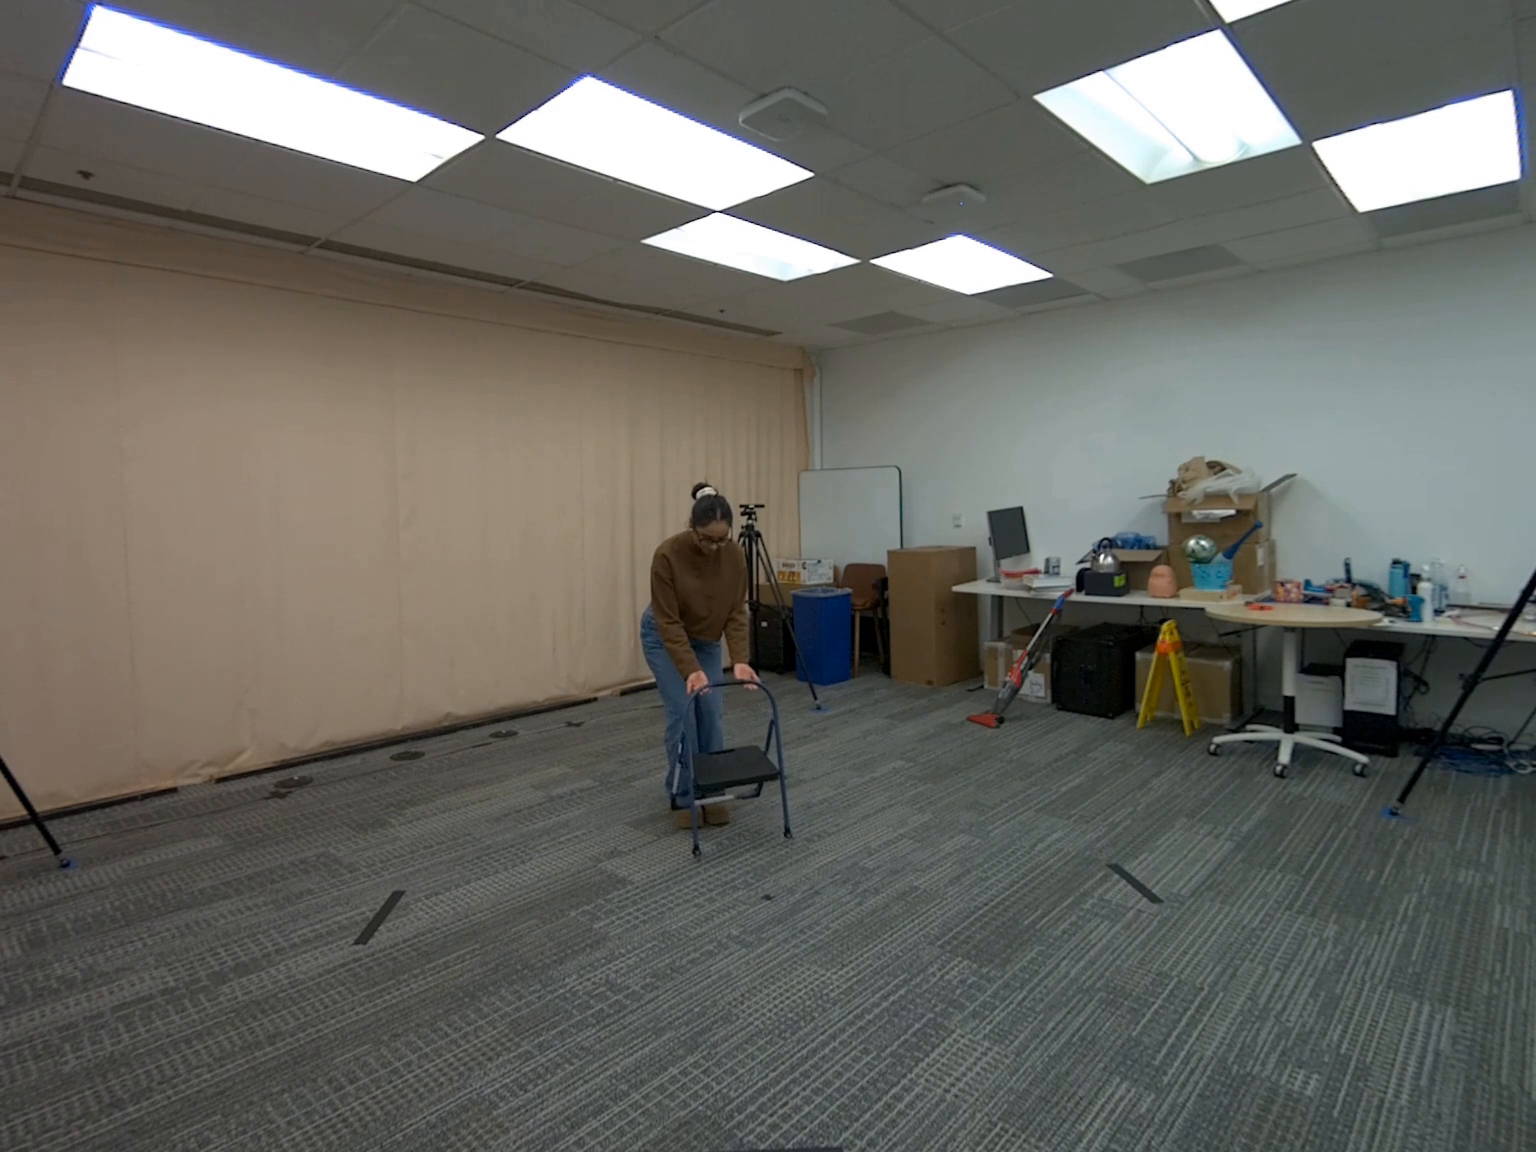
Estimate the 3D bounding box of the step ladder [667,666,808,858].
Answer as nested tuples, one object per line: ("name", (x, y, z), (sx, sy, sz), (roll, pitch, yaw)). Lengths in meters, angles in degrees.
("step ladder", (-0.138, 0.733, 3.428), (0.421, 0.601, 0.360), (-3, 15, -23))
